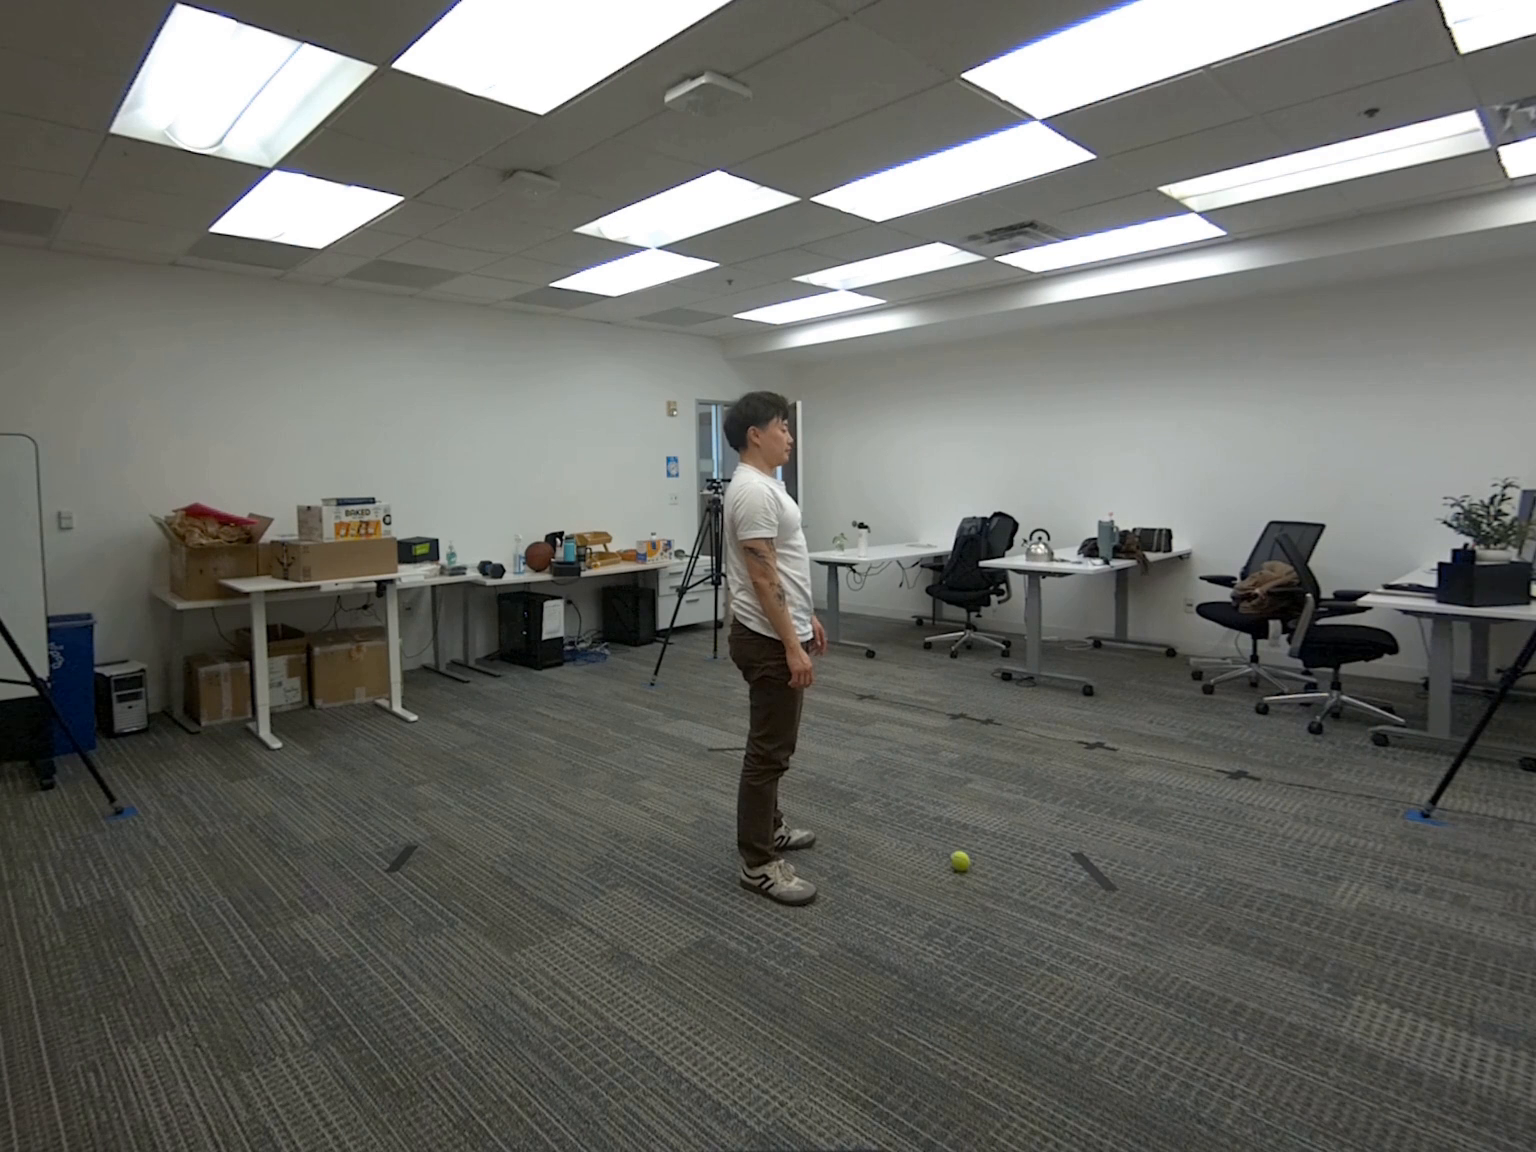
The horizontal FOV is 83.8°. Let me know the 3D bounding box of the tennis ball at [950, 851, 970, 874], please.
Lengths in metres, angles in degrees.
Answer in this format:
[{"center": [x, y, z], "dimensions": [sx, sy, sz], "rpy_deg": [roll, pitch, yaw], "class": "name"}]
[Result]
[{"center": [0.685, 0.992, 3.015], "dimensions": [0.066, 0.066, 0.067], "rpy_deg": [-1, 5, -2], "class": "tennis ball"}]
